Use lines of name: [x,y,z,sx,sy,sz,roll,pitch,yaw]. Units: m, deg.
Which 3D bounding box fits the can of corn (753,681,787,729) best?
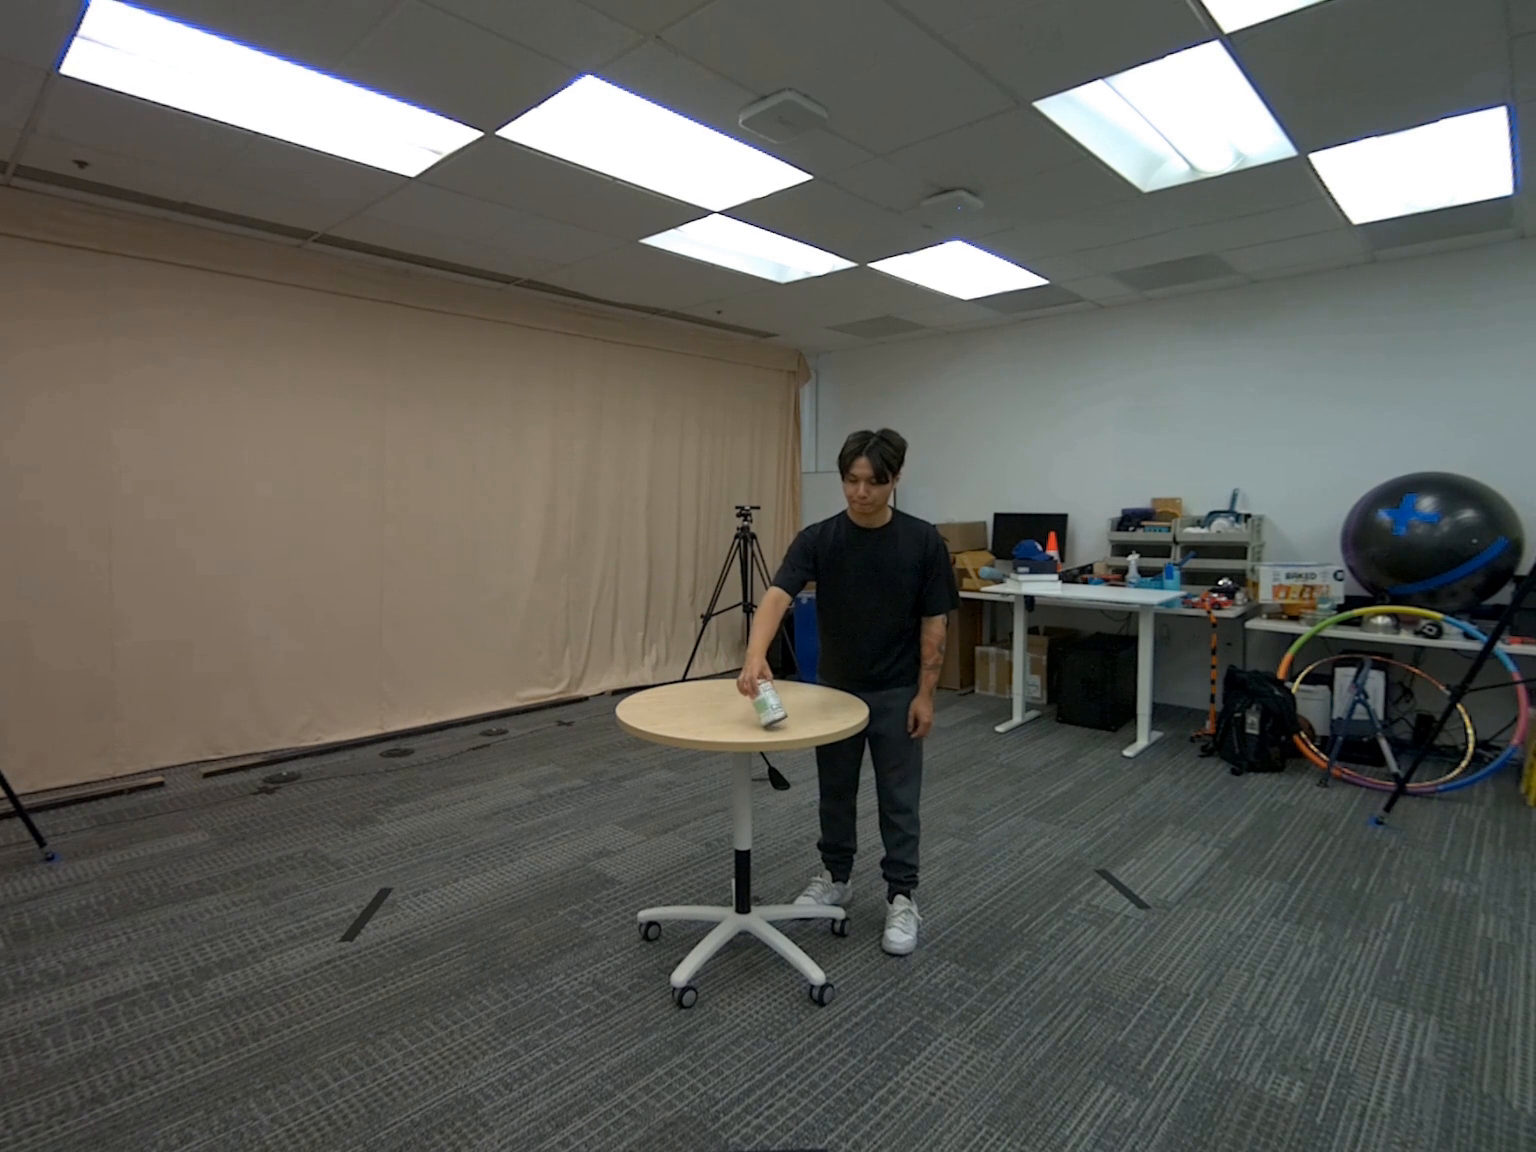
can of corn: [0.005,0.354,2.323,0.074,0.113,0.073,-17,-22,-9]
